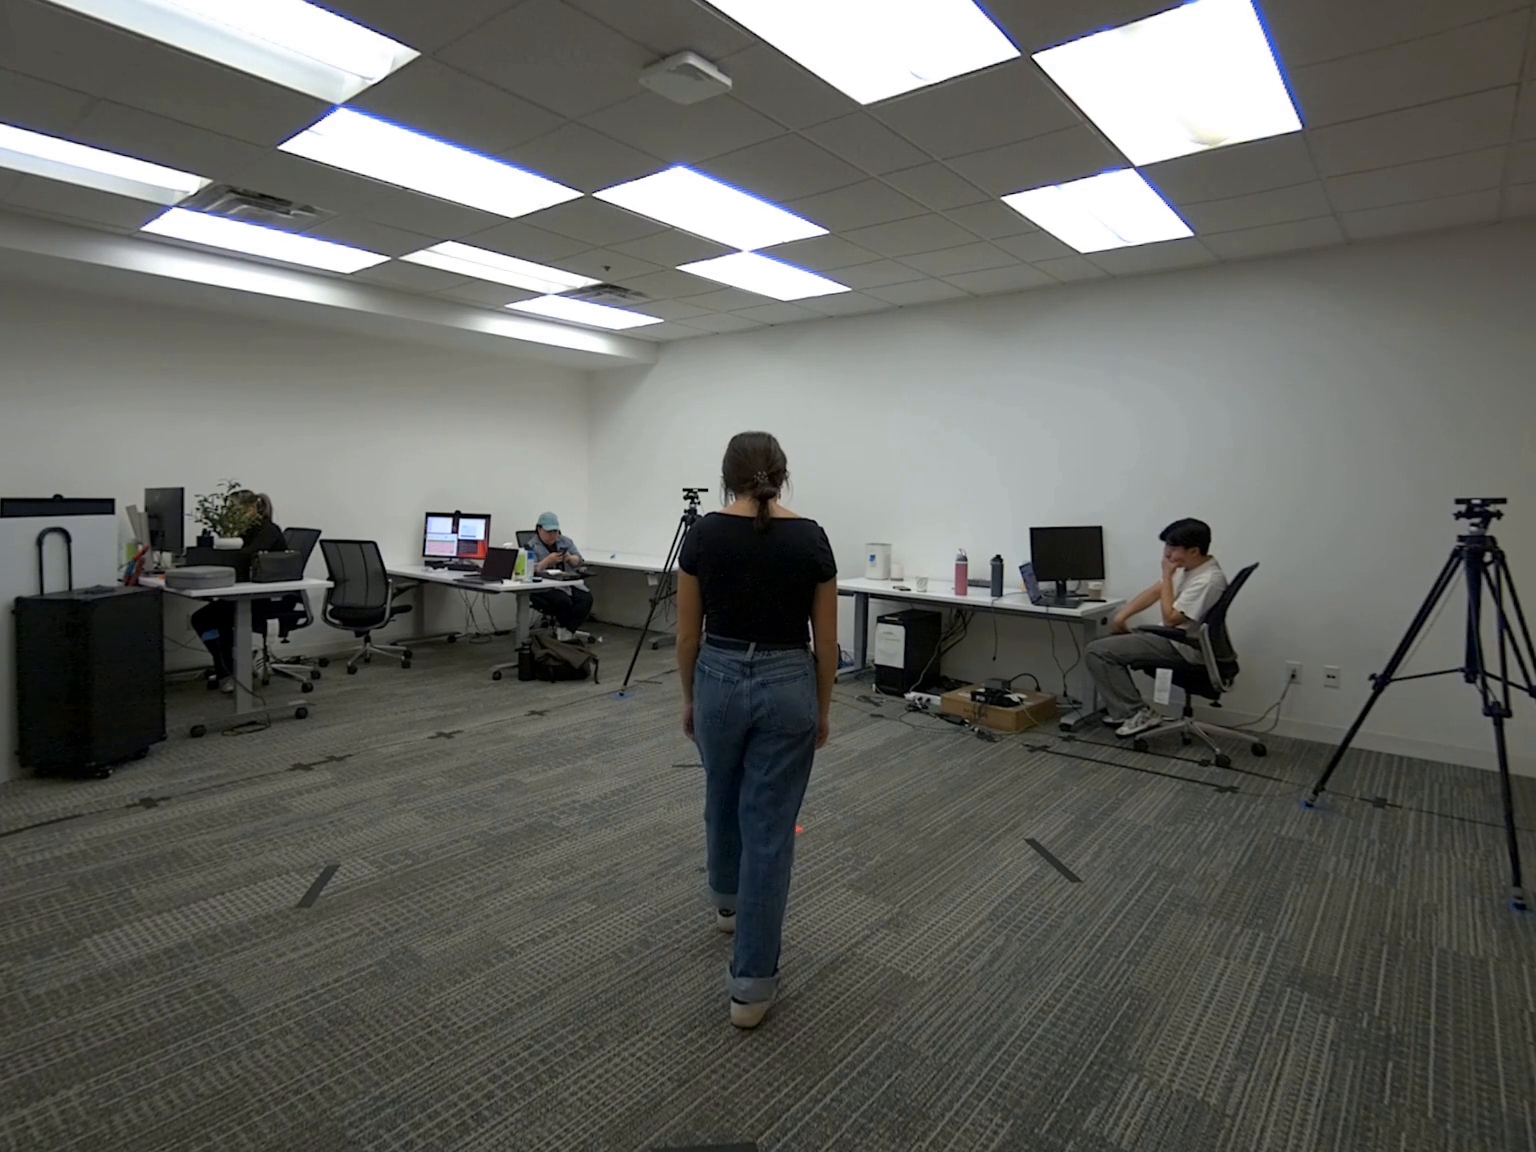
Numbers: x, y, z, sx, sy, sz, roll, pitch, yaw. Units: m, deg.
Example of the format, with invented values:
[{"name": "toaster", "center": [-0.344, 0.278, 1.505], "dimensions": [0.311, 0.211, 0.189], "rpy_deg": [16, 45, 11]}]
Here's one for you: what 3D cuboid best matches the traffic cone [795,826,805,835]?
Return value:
[{"name": "traffic cone", "center": [0.020, 0.838, 3.477], "dimensions": [0.210, 0.382, 0.199], "rpy_deg": [4, 5, 42]}]
